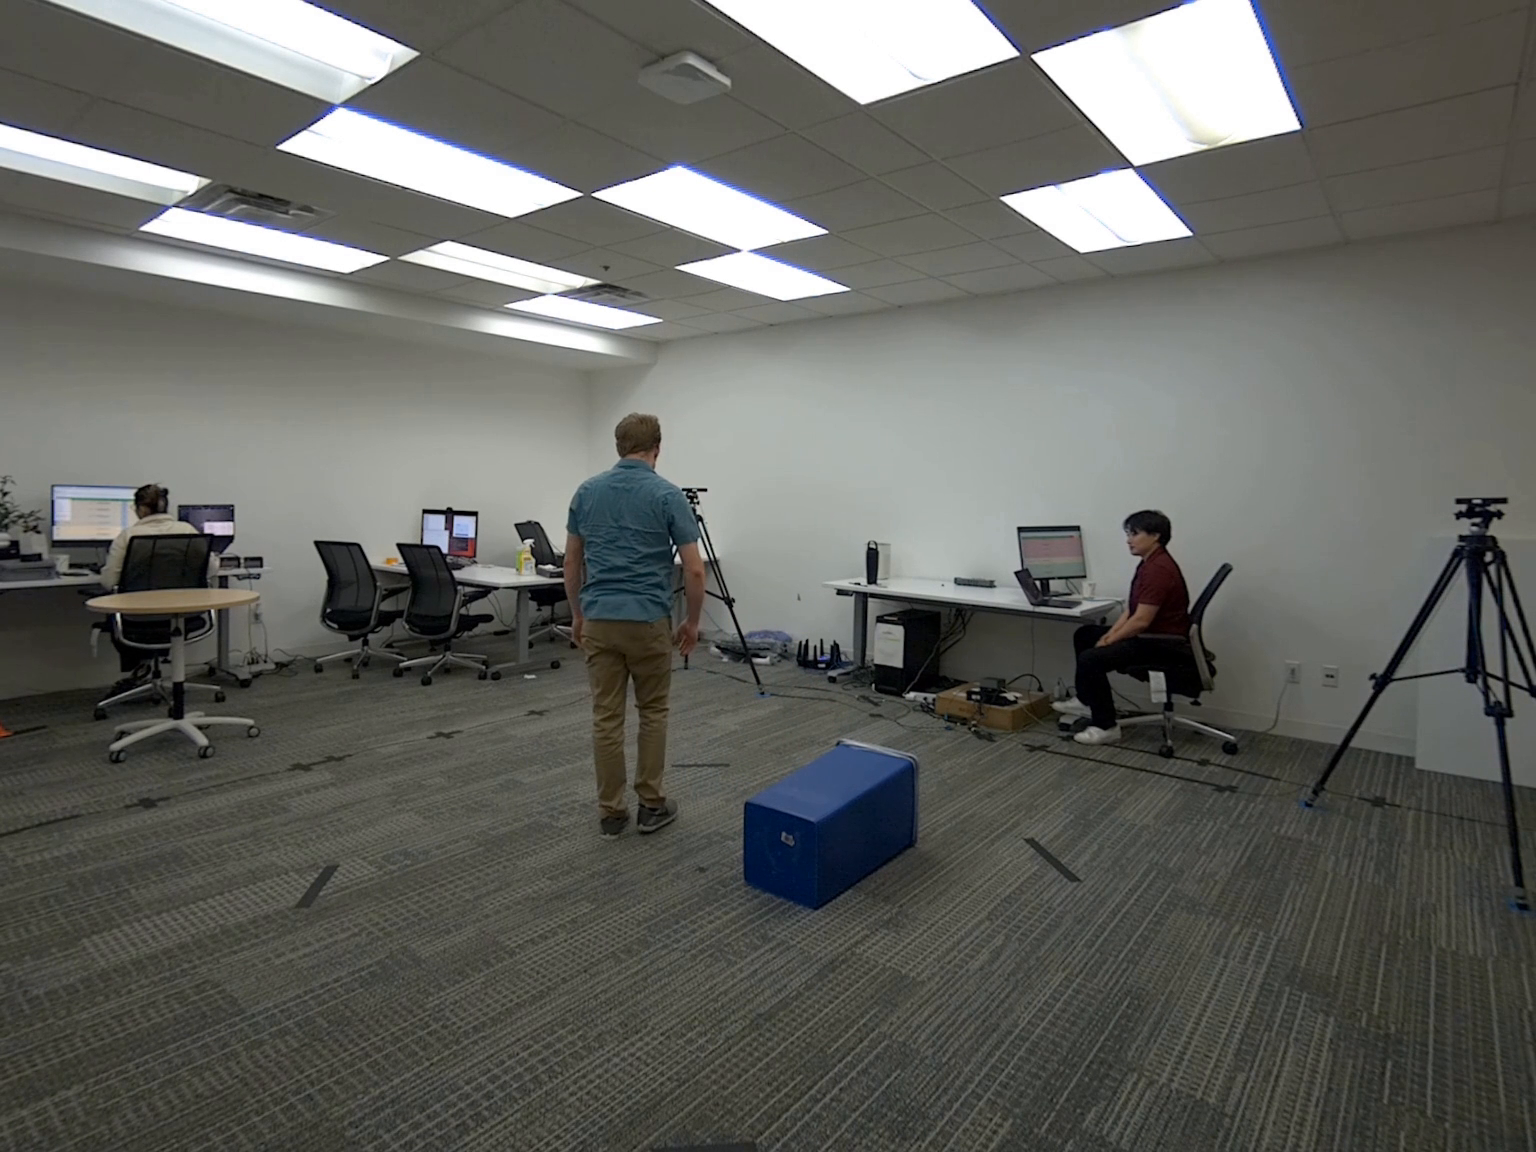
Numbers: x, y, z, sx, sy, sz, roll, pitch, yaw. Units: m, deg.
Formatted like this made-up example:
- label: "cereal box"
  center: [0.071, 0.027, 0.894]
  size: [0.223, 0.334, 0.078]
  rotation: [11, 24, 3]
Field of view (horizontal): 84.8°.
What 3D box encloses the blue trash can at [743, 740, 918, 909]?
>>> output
- label: "blue trash can"
  center: [0.237, 0.911, 3.166]
  size: [0.386, 0.376, 0.695]
  rotation: [4, 9, 36]
